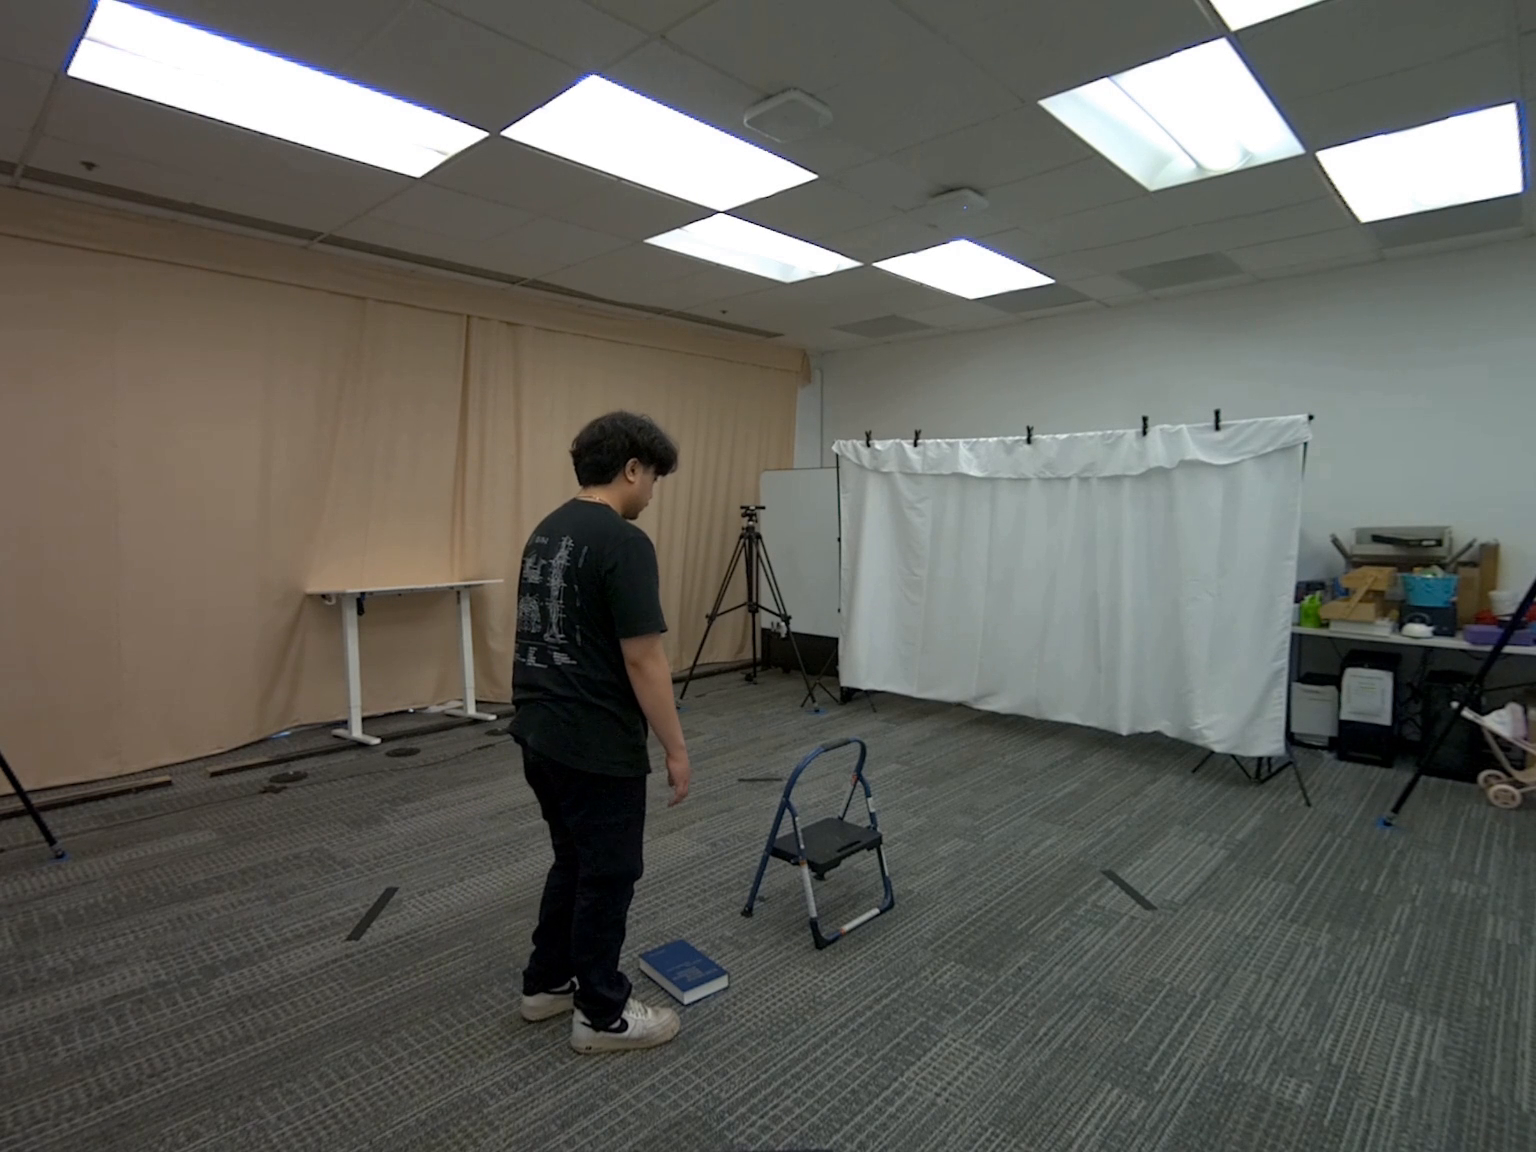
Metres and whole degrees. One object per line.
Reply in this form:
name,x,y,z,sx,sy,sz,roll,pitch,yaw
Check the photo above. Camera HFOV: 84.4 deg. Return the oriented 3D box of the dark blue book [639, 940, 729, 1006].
dark blue book,-0.250,1.169,2.476,0.158,0.045,0.253,-4,6,-39
